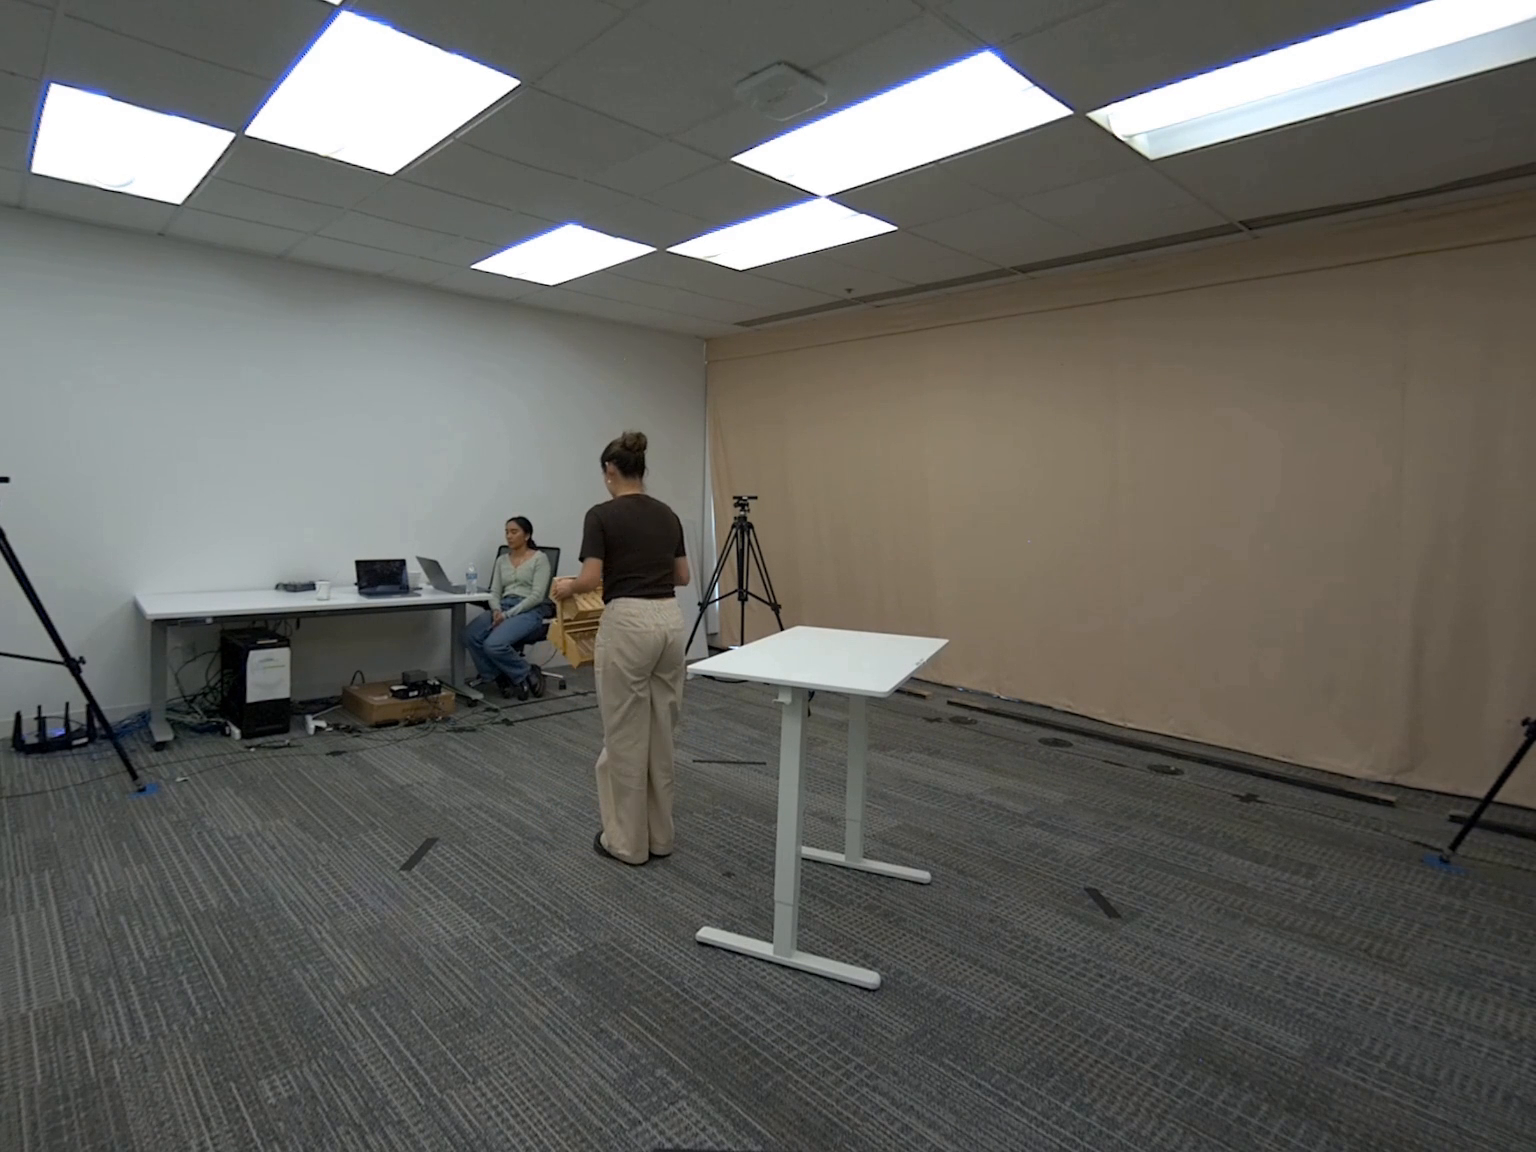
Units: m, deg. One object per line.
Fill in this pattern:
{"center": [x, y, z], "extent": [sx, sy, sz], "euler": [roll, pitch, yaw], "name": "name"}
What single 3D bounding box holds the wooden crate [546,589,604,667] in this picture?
{"center": [-0.717, 0.183, 3.478], "extent": [0.317, 0.271, 0.311], "euler": [-5, 30, -45], "name": "wooden crate"}
